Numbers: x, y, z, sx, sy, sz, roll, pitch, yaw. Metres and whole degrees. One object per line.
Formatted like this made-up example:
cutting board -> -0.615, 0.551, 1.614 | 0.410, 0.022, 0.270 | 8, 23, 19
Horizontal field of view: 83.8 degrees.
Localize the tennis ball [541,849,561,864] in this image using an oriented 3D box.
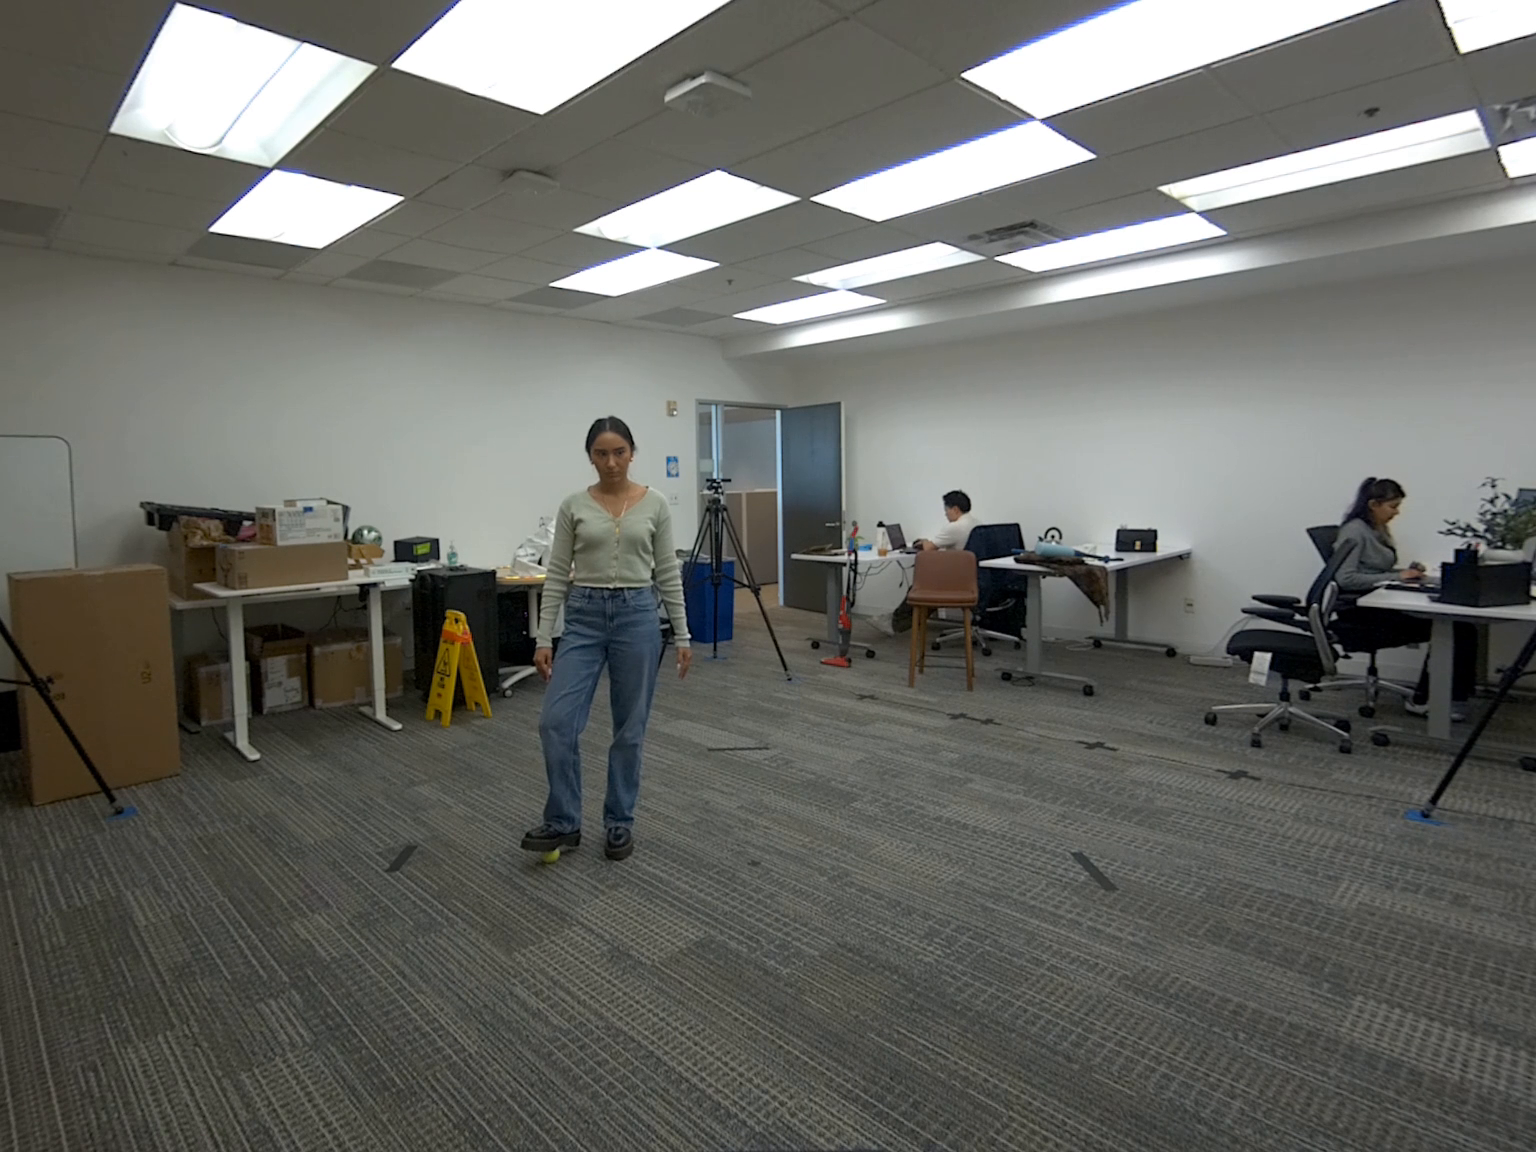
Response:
tennis ball -> -0.802, 1.036, 3.151 | 0.066, 0.066, 0.067 | -1, 5, -2
